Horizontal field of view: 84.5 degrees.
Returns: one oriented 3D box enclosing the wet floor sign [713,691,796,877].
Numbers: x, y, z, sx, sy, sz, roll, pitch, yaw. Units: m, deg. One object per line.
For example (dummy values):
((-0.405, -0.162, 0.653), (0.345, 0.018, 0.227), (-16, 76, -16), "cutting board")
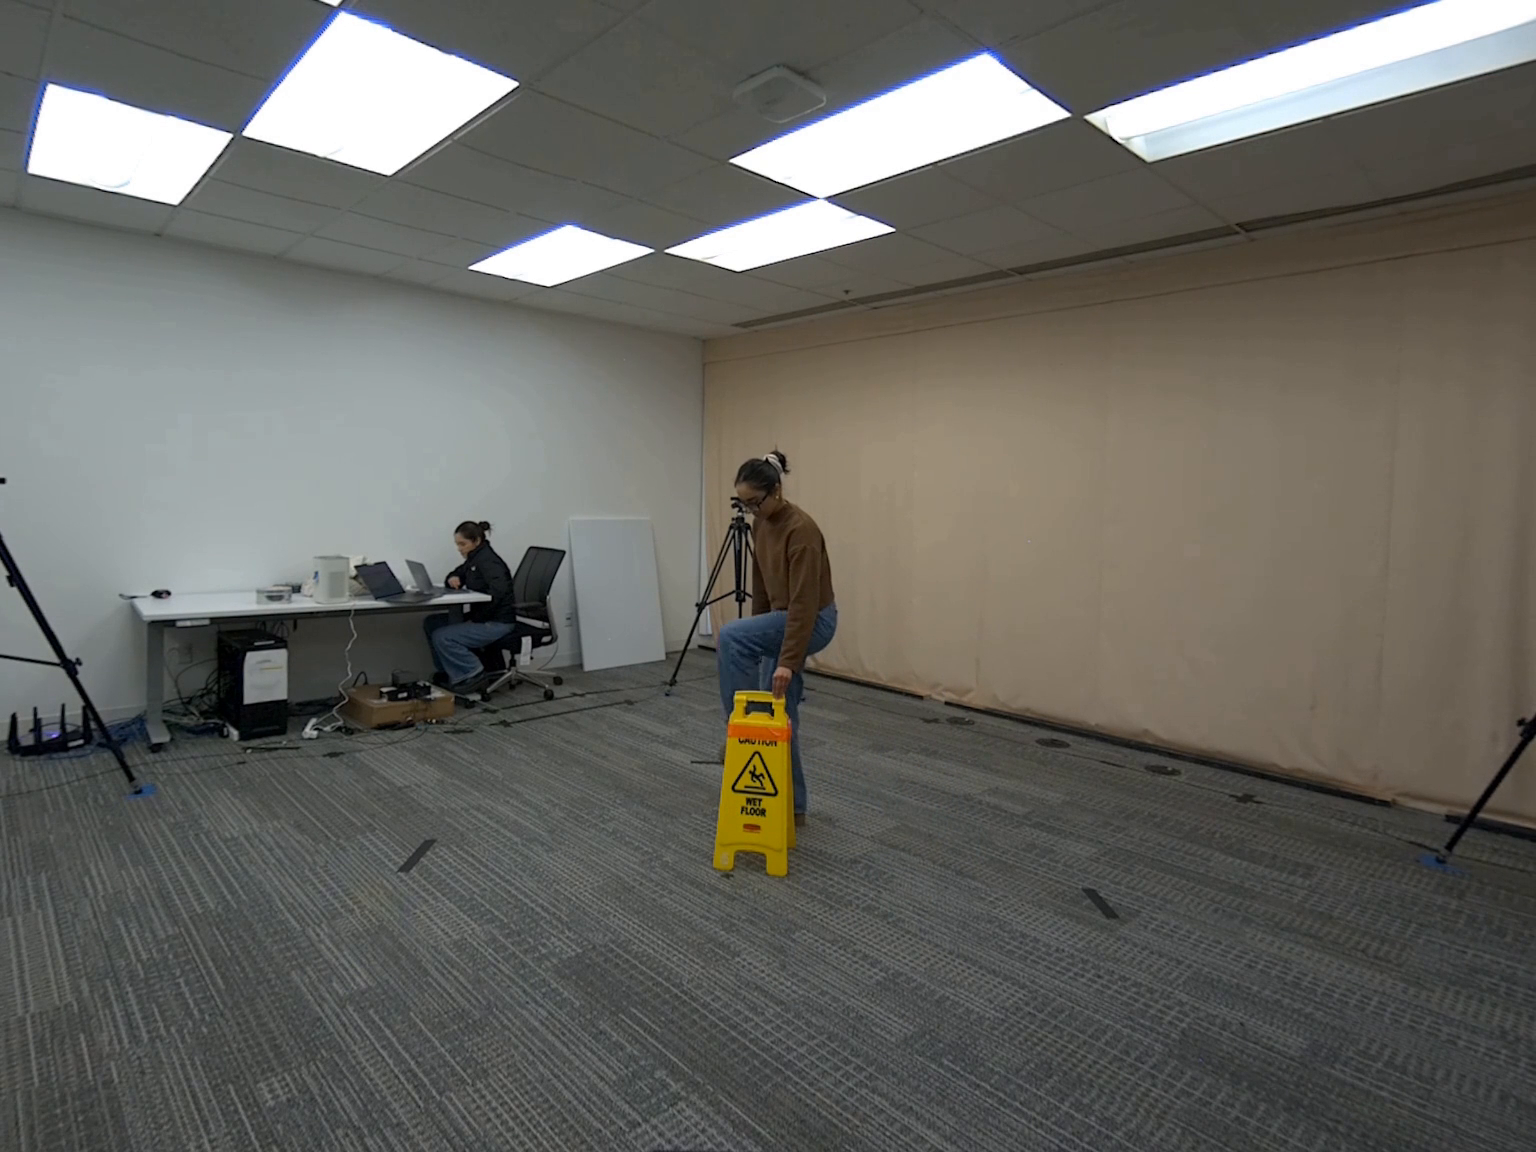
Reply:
((-0.058, 0.780, 3.259), (0.285, 0.645, 0.288), (2, 3, 9), "wet floor sign")
